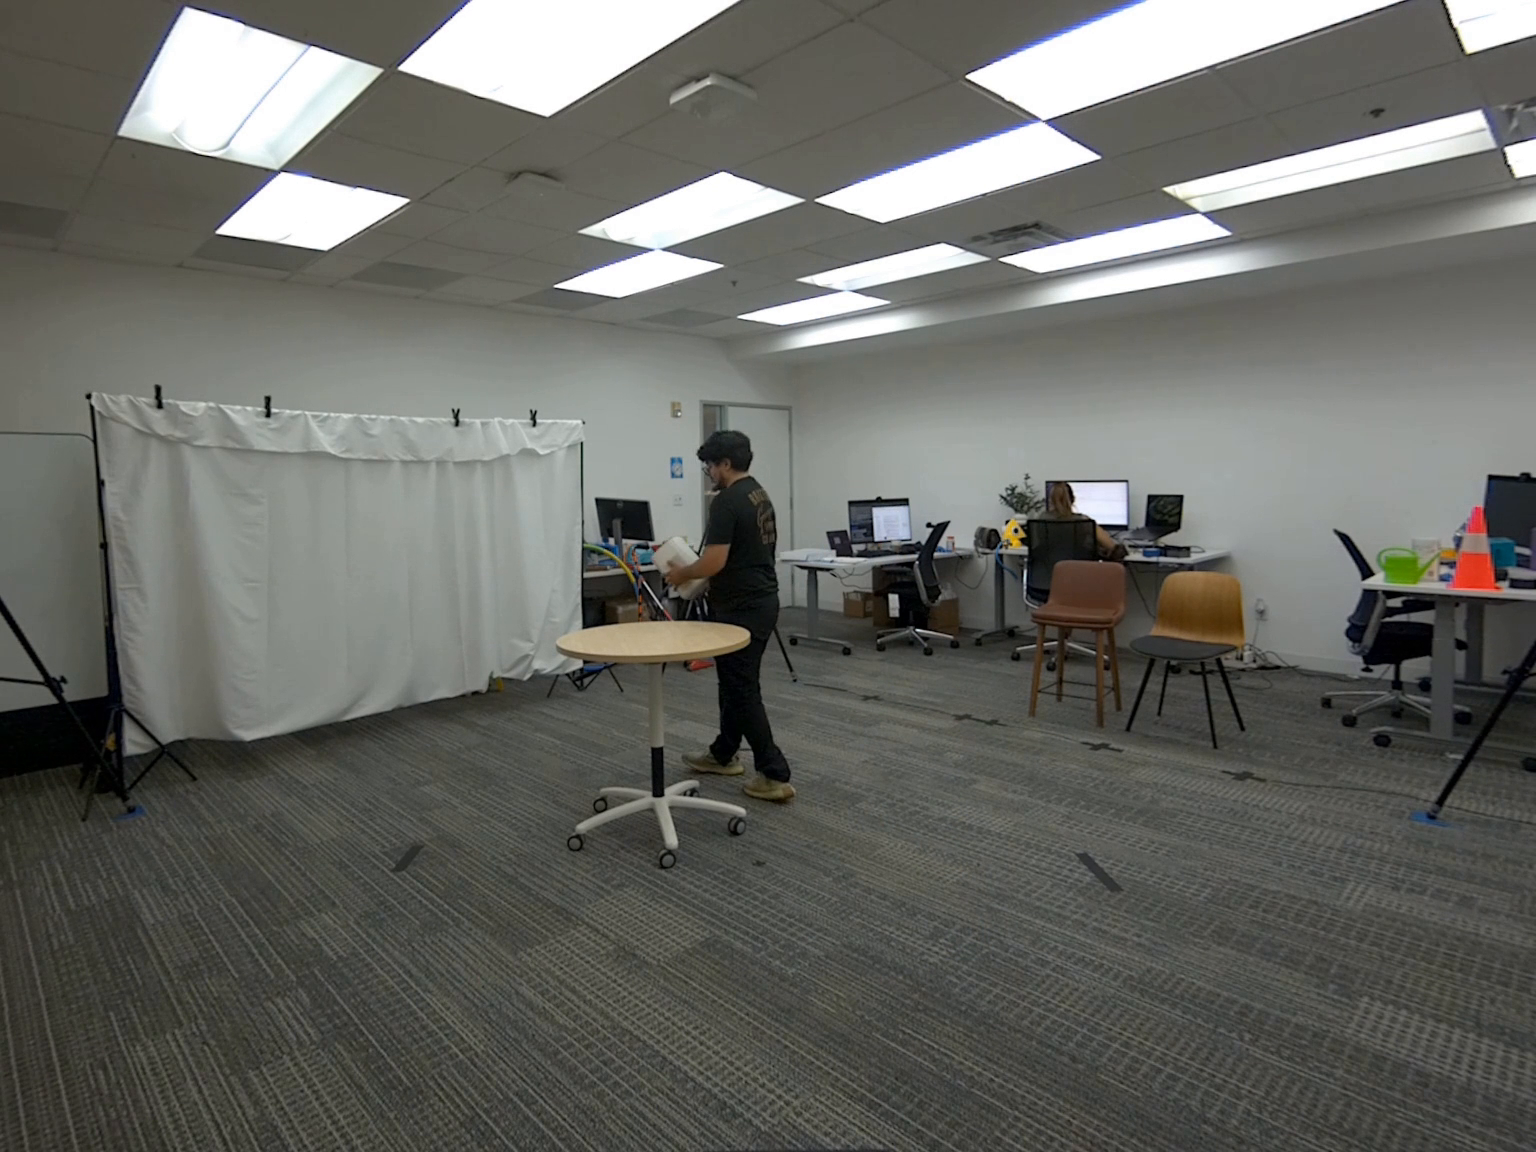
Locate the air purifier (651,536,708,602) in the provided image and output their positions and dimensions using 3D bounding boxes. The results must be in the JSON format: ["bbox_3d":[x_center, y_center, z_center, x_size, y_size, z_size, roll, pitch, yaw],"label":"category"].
[{"bbox_3d":[-0.397,-0.042,4.023,0.174,0.266,0.165,-43,-11,12],"label":"air purifier"}]
